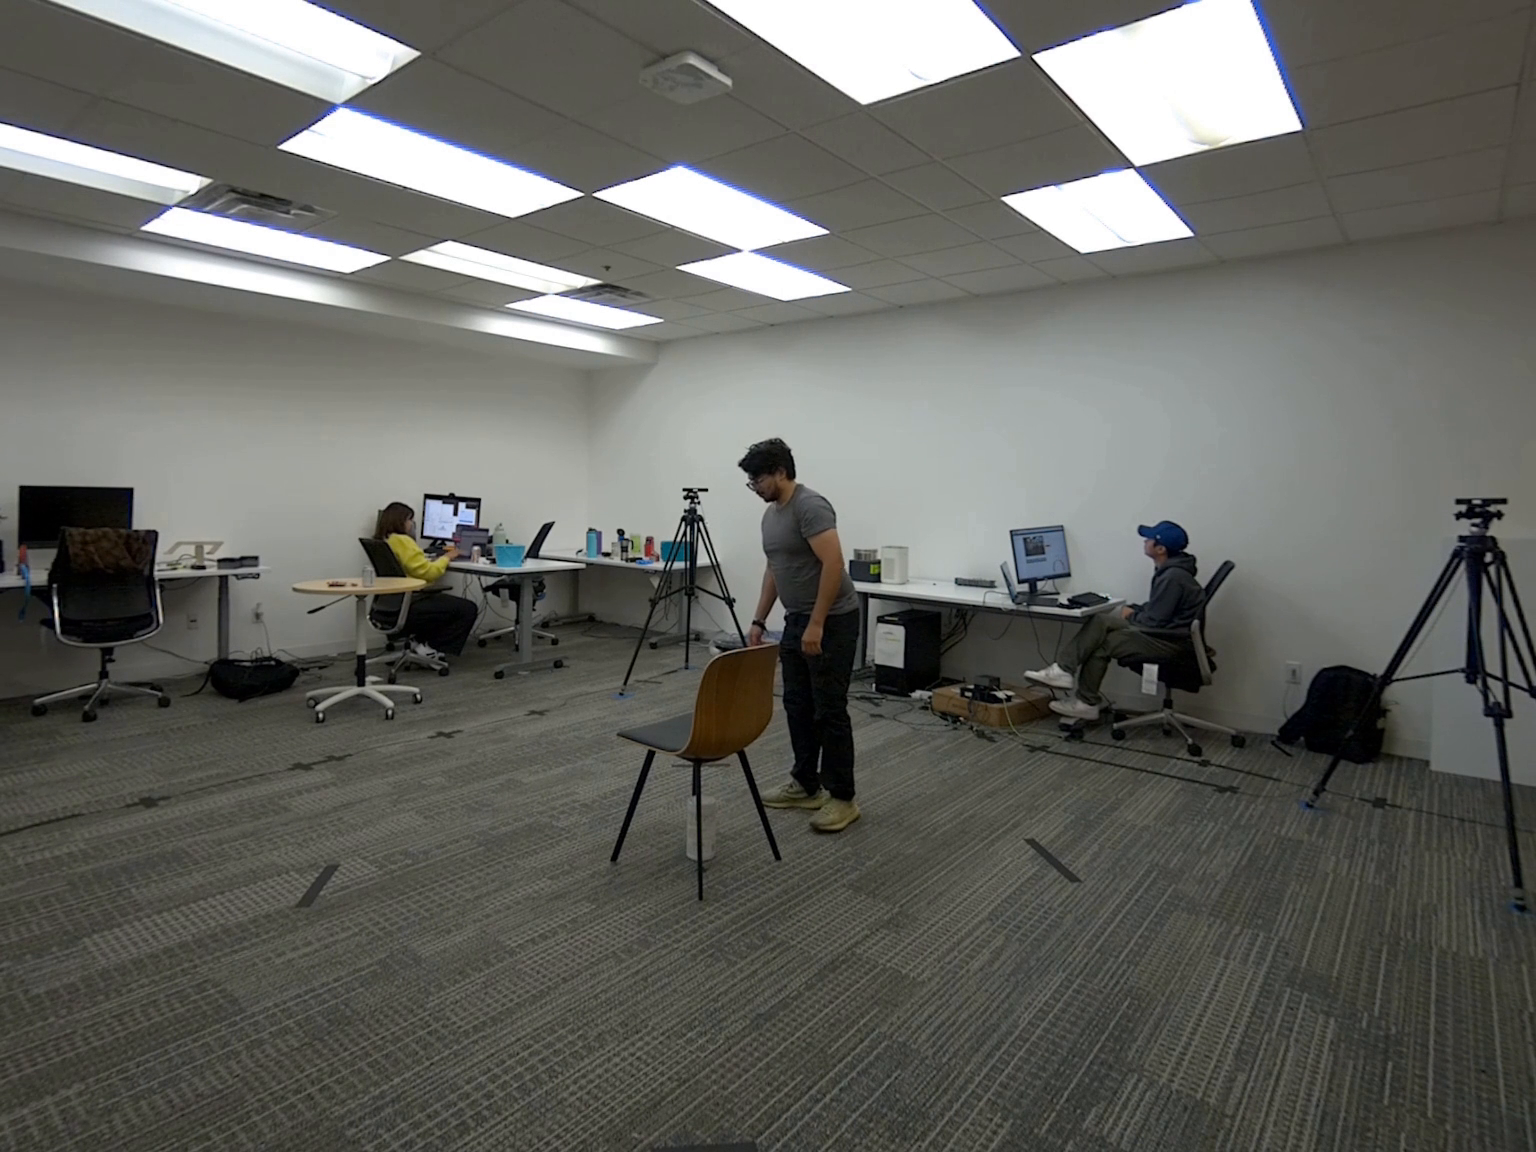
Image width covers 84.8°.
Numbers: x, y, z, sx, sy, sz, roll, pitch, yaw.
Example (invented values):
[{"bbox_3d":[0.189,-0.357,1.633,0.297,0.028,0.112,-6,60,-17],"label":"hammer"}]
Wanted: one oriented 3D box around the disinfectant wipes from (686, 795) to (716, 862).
[{"bbox_3d":[-0.261,0.957,3.227,0.118,0.217,0.118,1,2,-2],"label":"disinfectant wipes"}]
